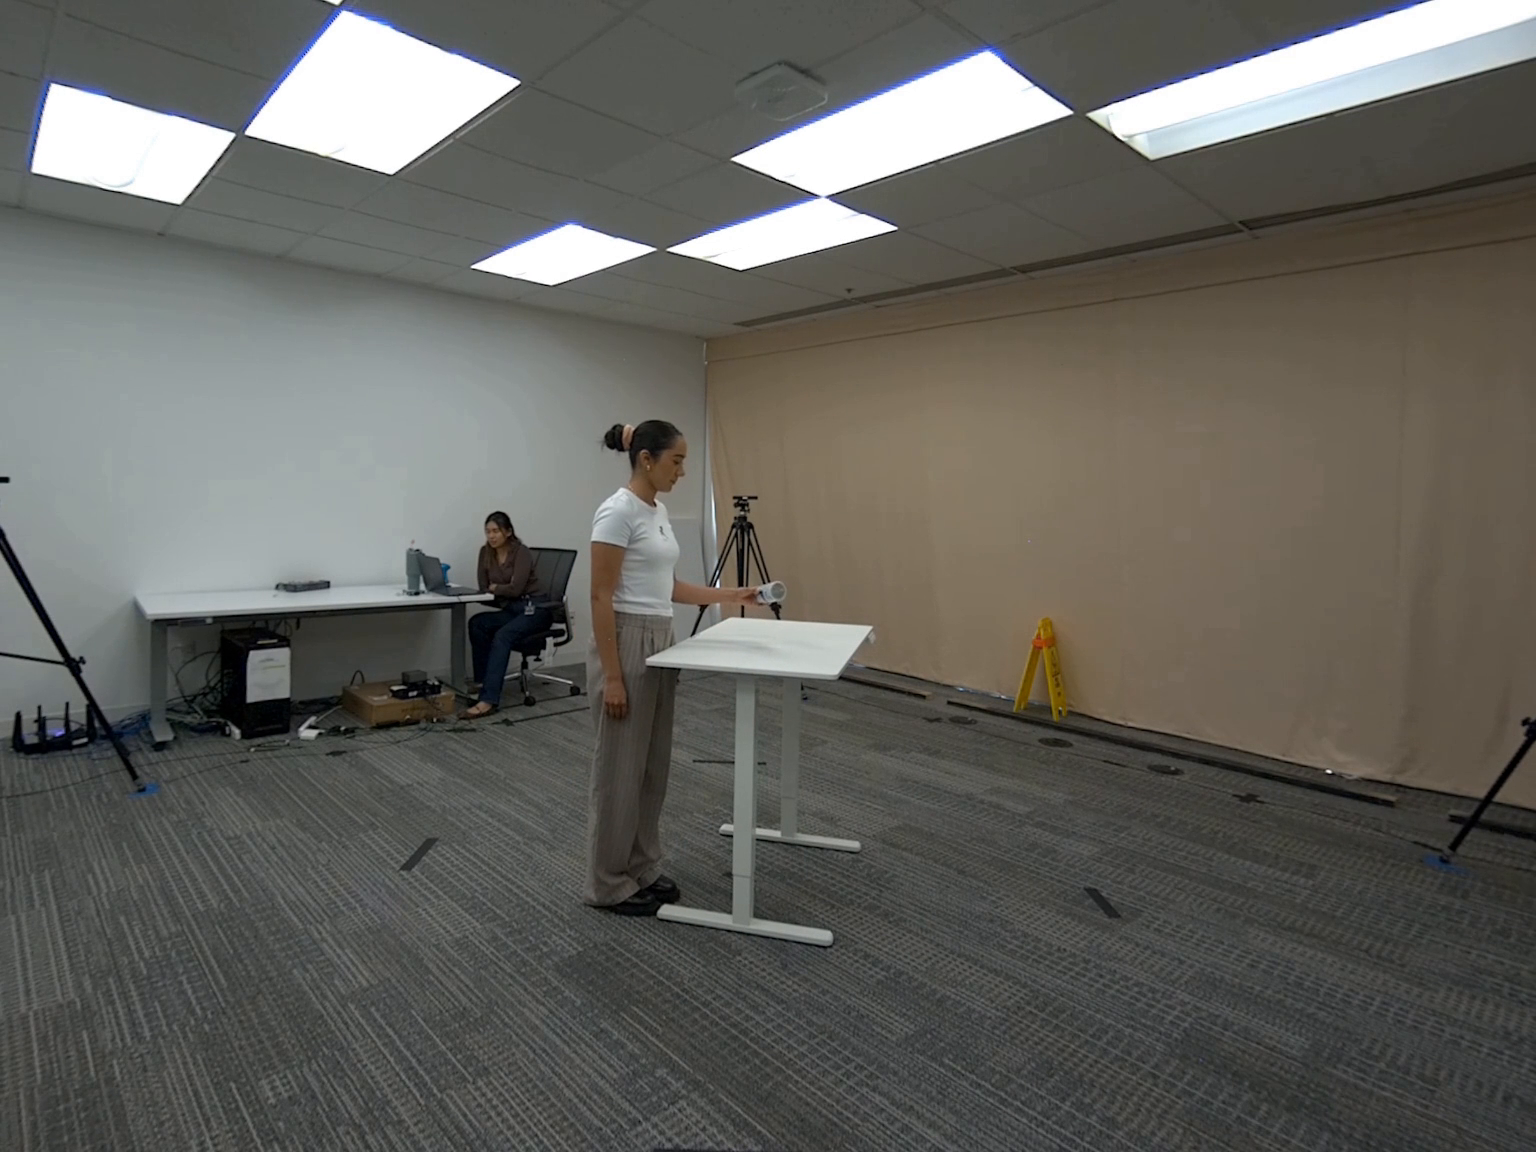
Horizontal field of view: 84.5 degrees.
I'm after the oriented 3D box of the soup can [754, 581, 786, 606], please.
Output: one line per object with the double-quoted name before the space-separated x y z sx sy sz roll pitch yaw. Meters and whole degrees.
"soup can" -0.006 0.059 2.930 0.065 0.067 0.123 -2 -9 -36
